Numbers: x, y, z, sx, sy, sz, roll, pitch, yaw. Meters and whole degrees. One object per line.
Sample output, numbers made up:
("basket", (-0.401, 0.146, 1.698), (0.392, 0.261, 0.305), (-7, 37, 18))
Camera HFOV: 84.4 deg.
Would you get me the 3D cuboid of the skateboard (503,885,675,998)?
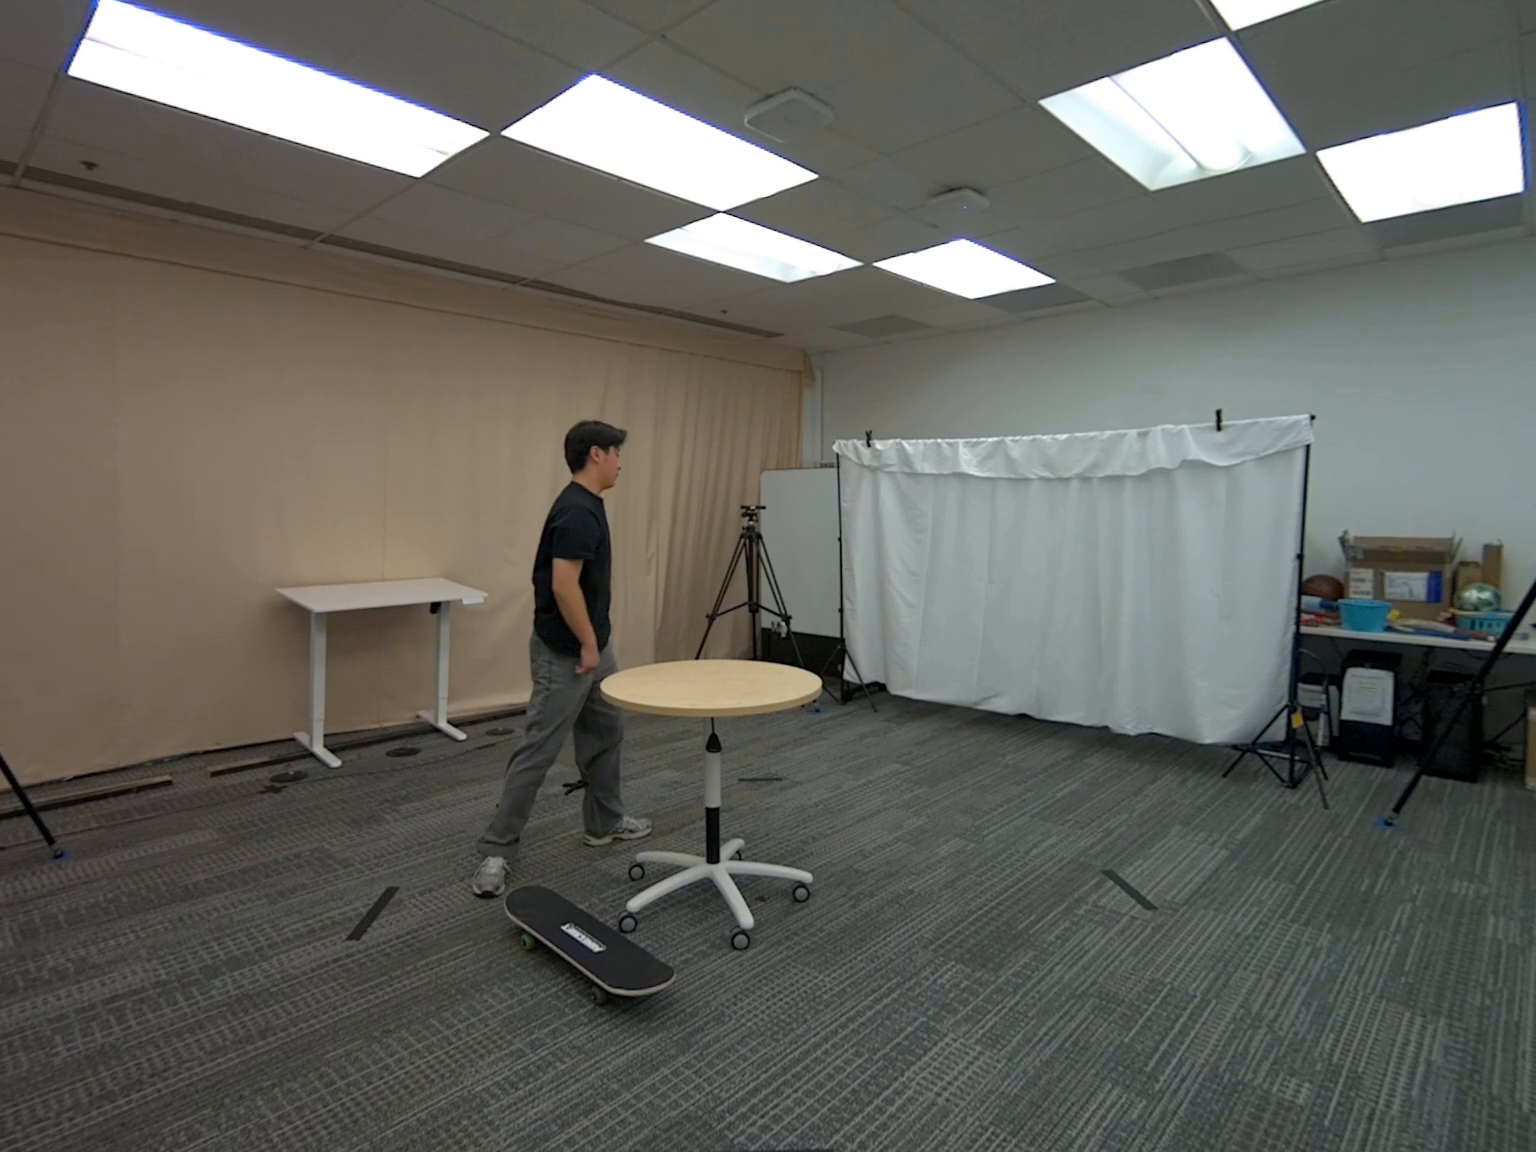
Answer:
("skateboard", (-0.562, 1.130, 2.547), (0.187, 0.110, 0.812), (-3, 5, -43))
